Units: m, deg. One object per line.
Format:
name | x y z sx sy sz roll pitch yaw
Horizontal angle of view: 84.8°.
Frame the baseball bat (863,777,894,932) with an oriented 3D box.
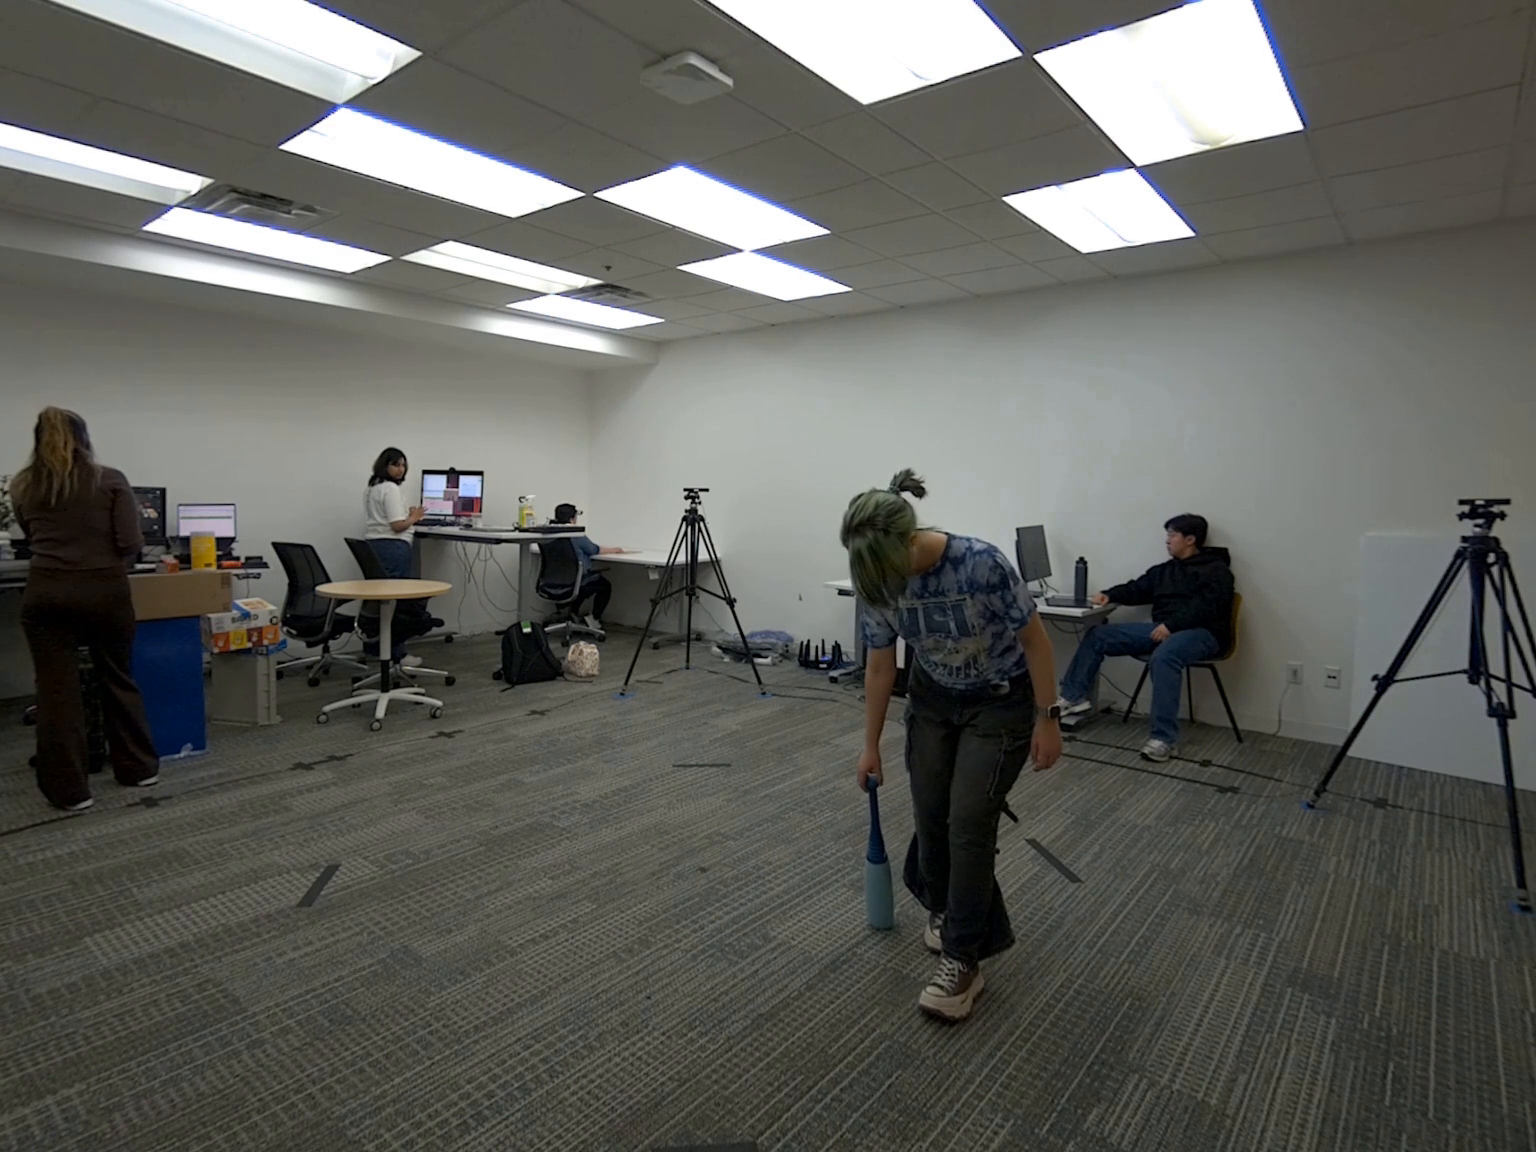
baseball bat | 0.333 0.865 2.664 0.089 0.533 0.091 -6 18 0
